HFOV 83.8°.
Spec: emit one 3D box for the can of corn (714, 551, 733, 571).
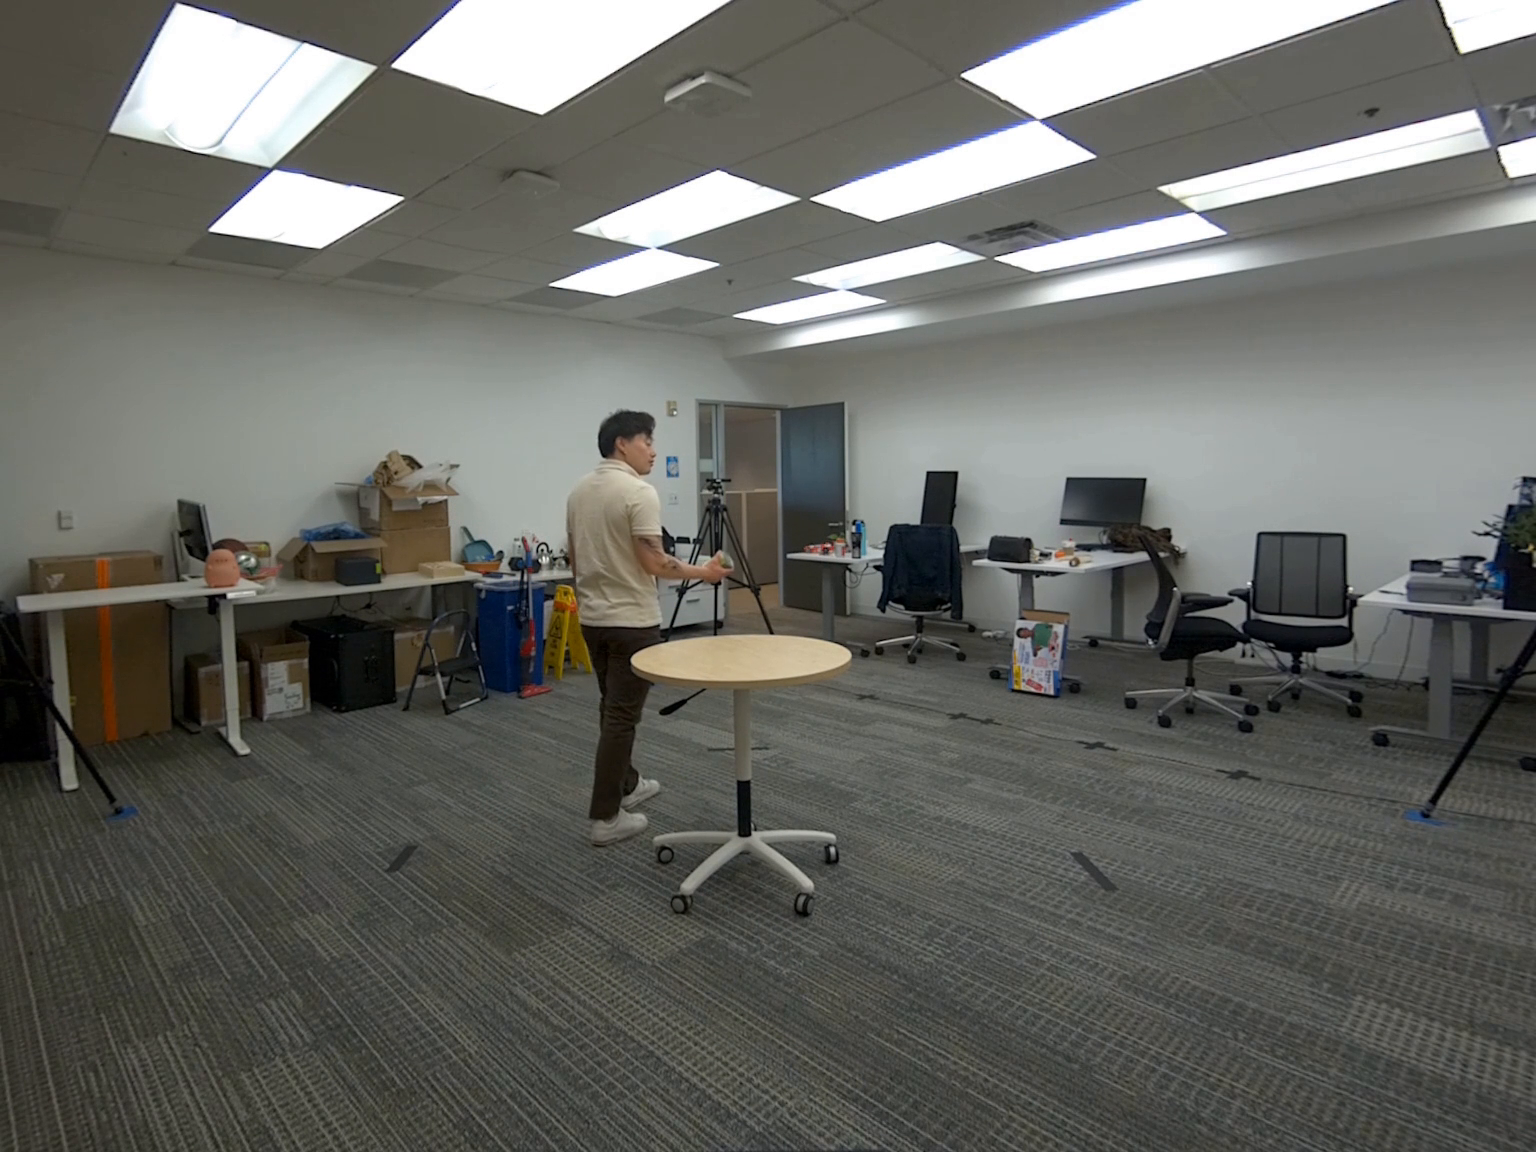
[{"bbox_3d":[-0.202,-0.056,3.459,0.111,0.074,0.074,-21,3,5],"label":"can of corn"}]
